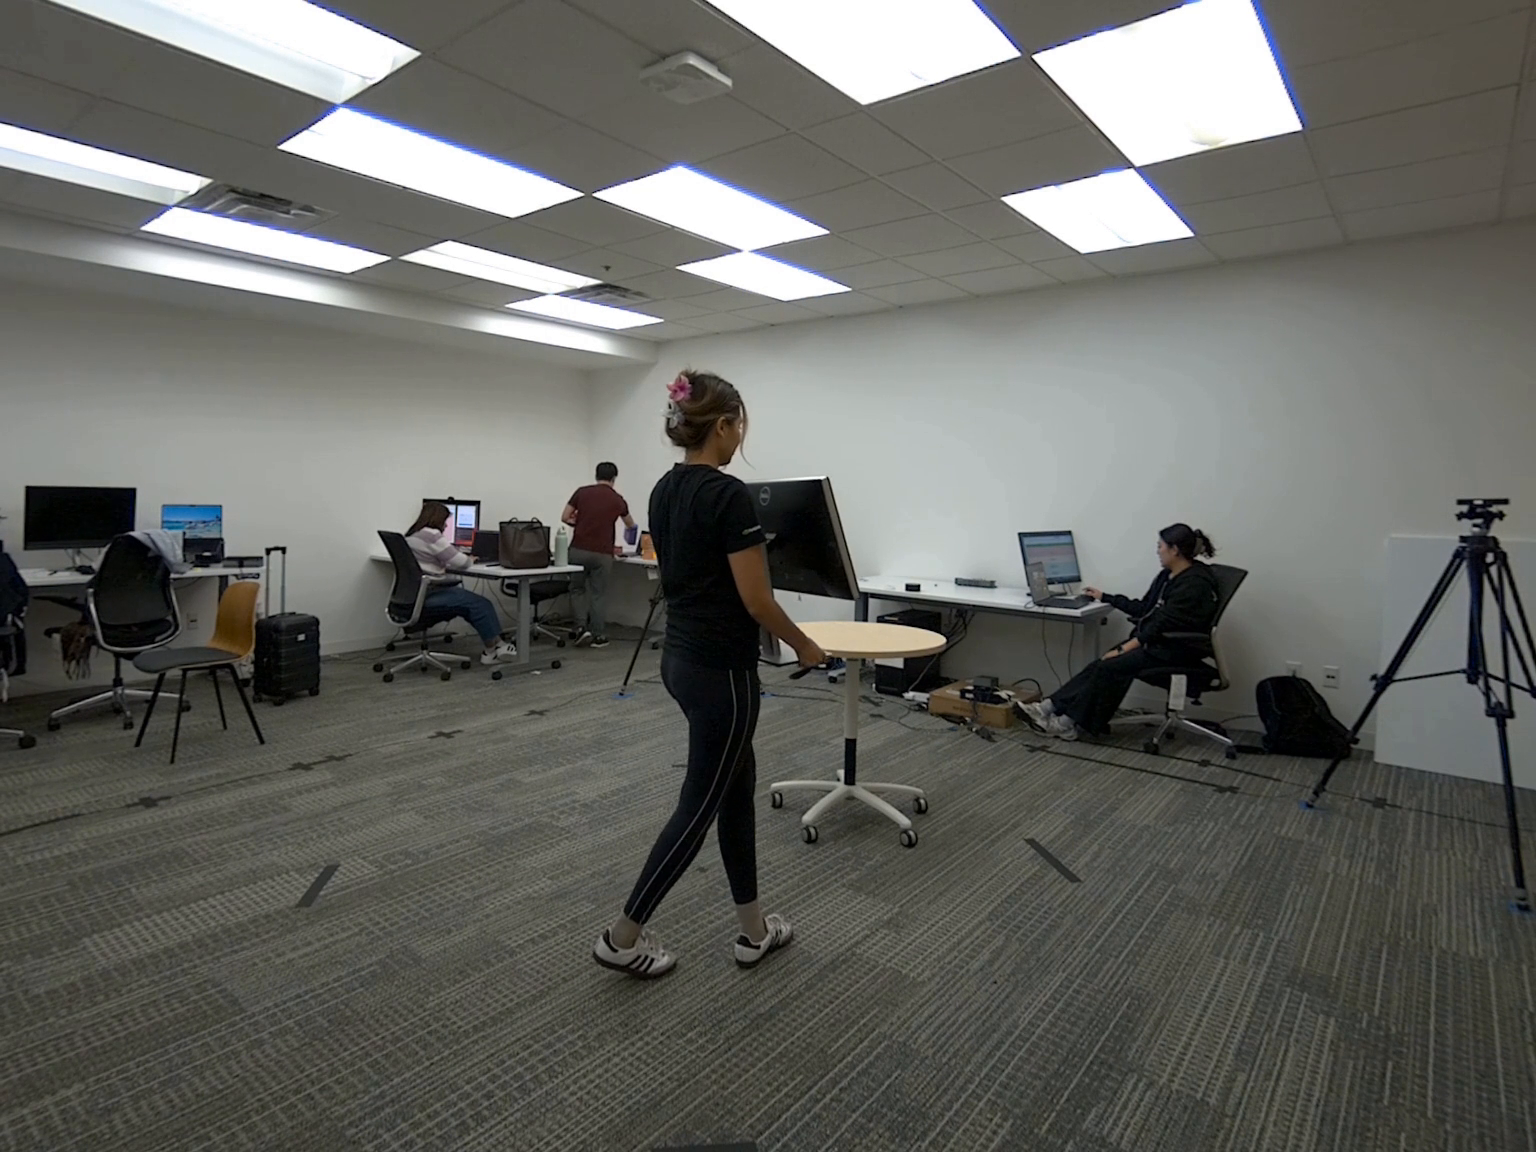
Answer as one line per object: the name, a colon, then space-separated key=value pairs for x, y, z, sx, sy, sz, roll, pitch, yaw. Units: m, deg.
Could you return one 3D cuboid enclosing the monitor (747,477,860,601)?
monitor: x=0.020 y=-0.026 z=2.589 sx=0.182 sy=0.519 sz=0.556 roll=-8 pitch=7 yaw=-33
